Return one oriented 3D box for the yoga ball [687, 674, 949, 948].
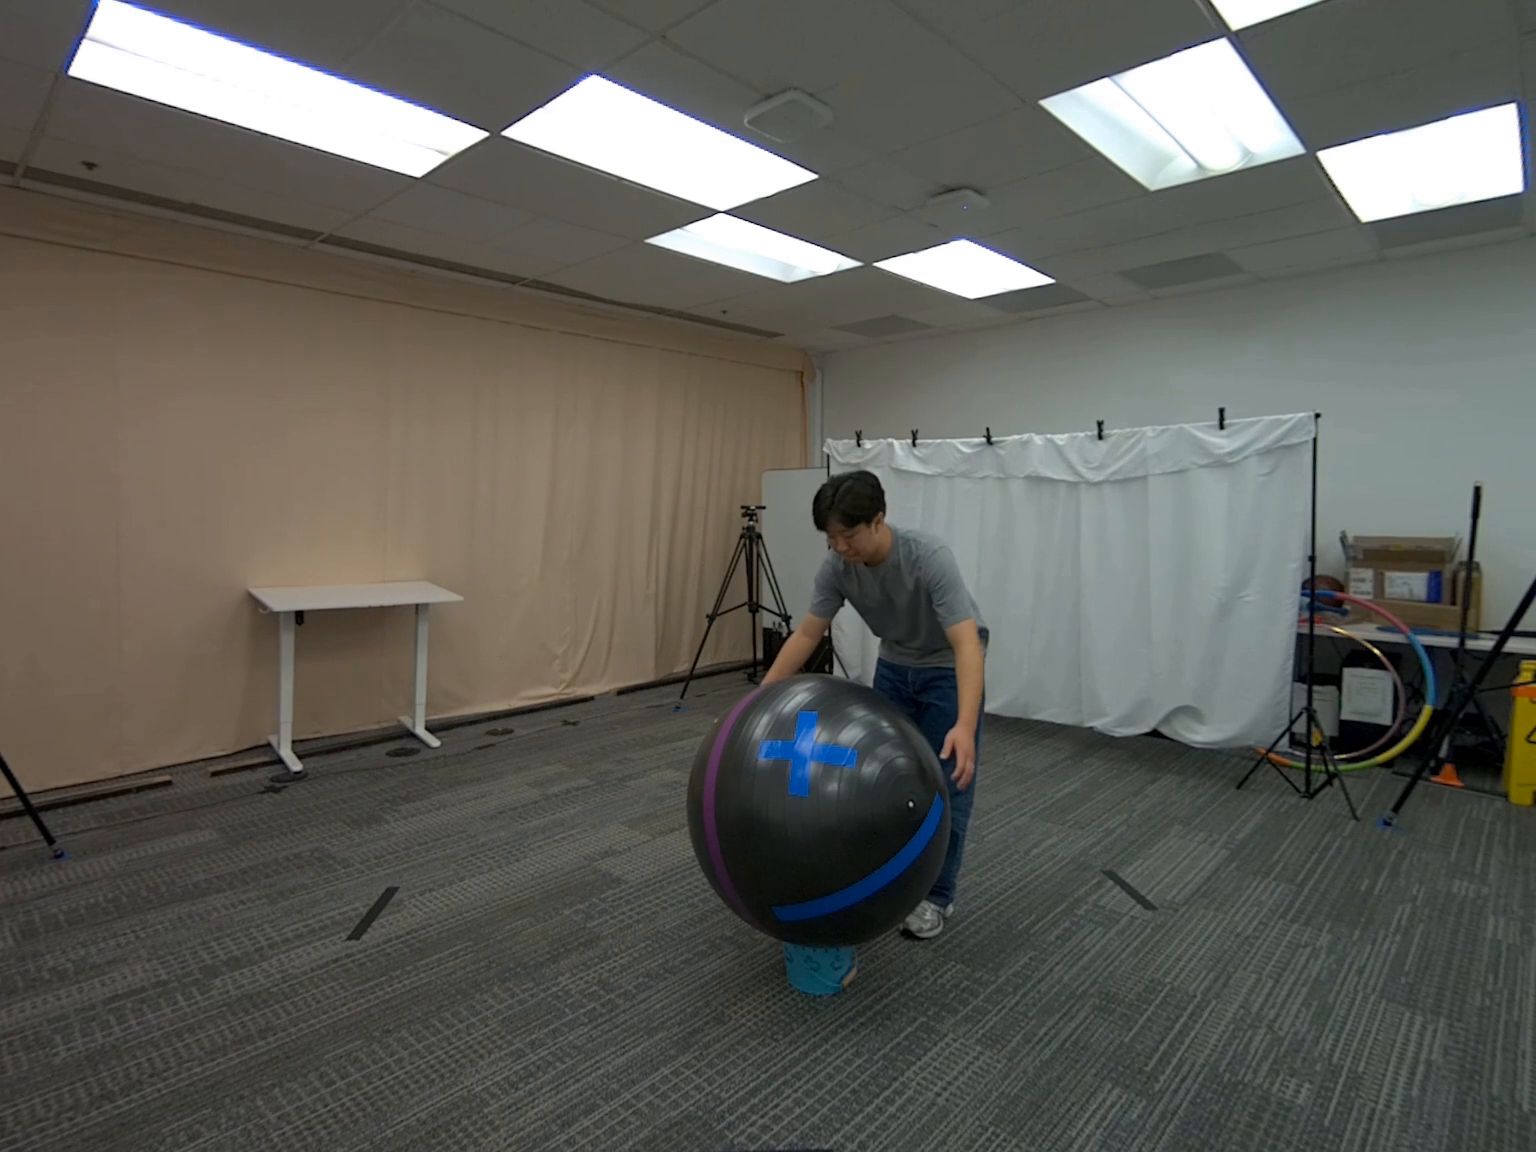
[{"bbox_3d":[0.138,0.679,2.463,0.757,0.756,0.760,0,4,-2],"label":"yoga ball"}]
